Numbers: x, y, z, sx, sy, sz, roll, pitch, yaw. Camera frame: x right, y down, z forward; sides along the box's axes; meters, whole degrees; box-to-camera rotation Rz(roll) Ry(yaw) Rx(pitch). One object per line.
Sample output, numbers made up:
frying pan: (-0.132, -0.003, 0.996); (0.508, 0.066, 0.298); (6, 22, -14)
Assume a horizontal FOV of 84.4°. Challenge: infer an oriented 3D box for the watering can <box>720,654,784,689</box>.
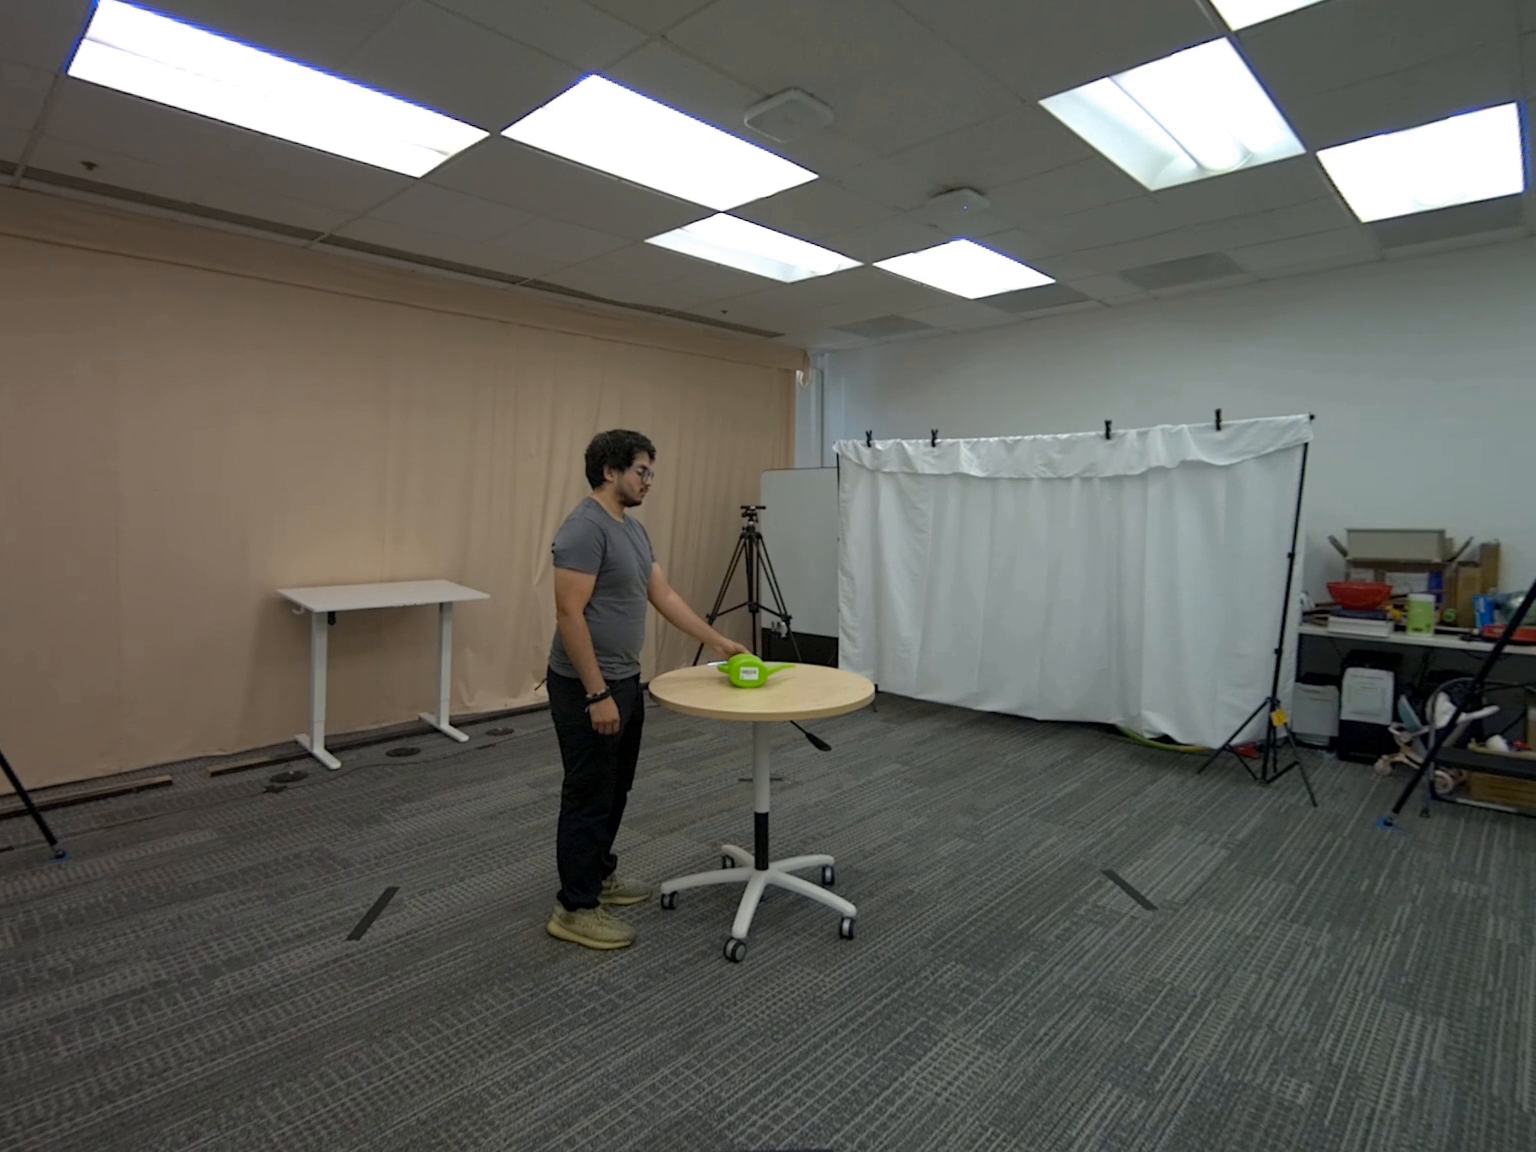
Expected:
watering can: (-0.031, 0.312, 2.879); (0.278, 0.097, 0.178); (-6, 7, -2)
